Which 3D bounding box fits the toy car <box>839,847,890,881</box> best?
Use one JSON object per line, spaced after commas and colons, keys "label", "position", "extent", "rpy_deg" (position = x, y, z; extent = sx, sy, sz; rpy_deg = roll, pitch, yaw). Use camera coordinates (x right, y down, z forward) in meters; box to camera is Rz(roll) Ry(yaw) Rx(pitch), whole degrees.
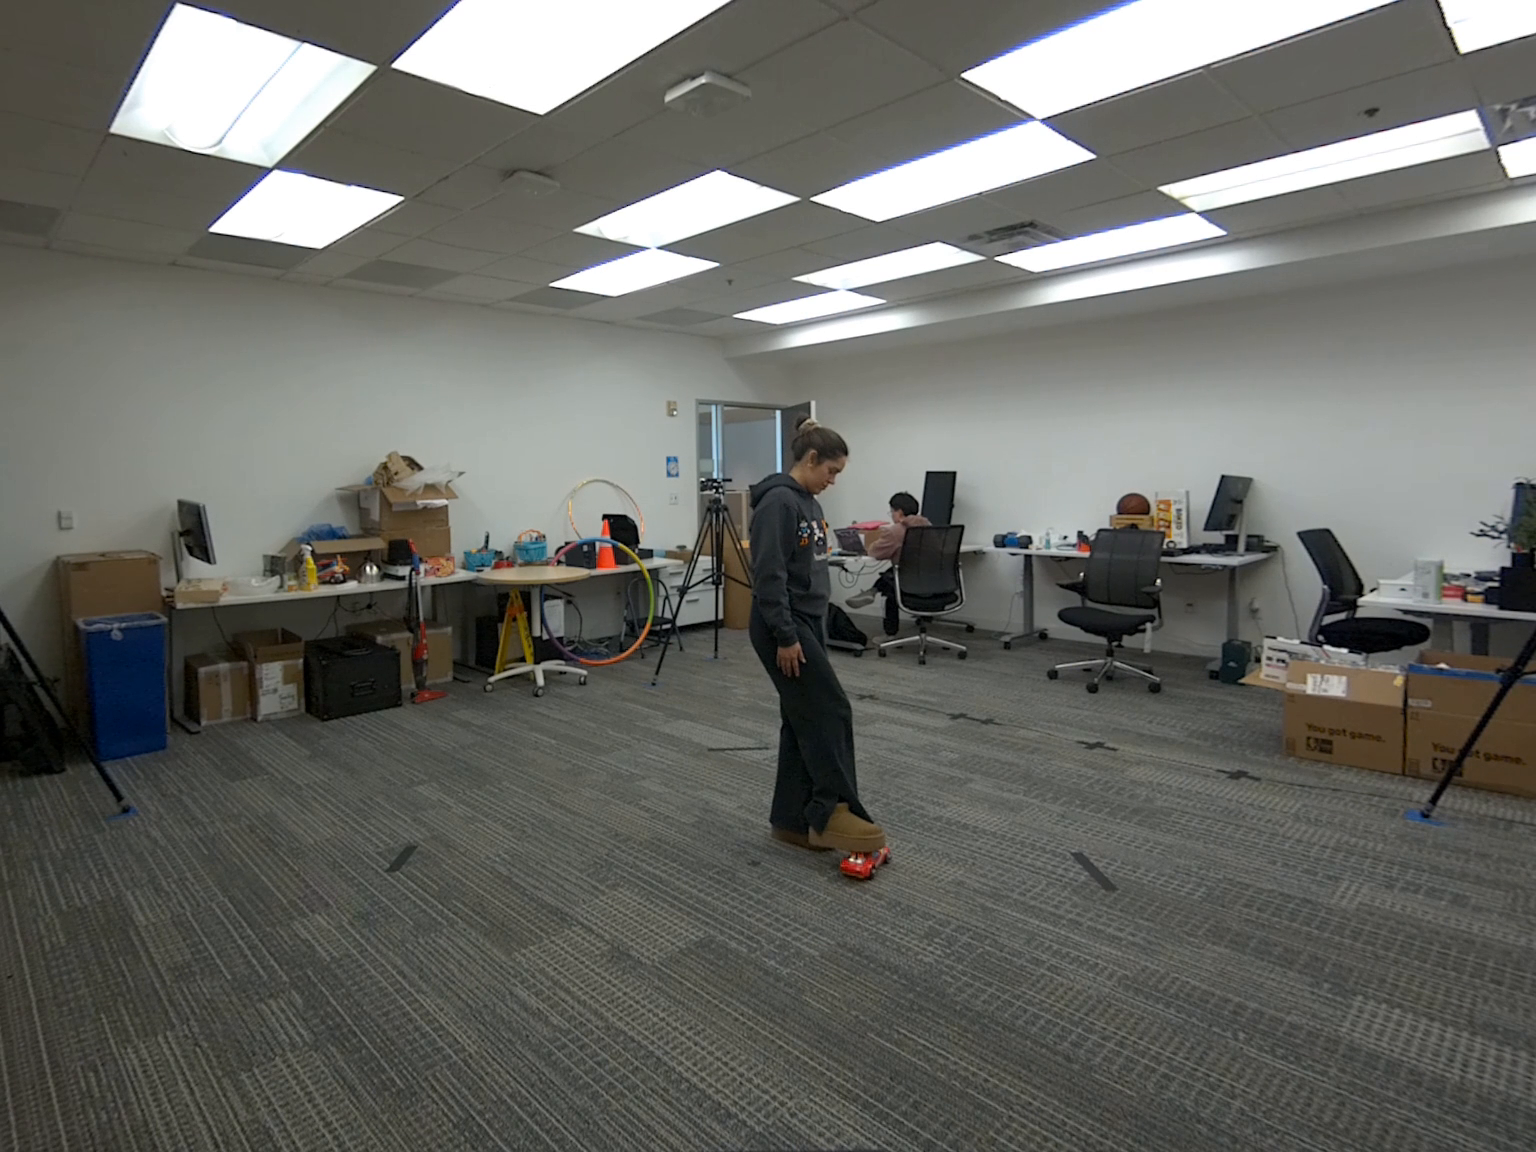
{"label": "toy car", "position": [0.342, 1.014, 3.020], "extent": [0.134, 0.083, 0.246], "rpy_deg": [2, -5, 32]}
